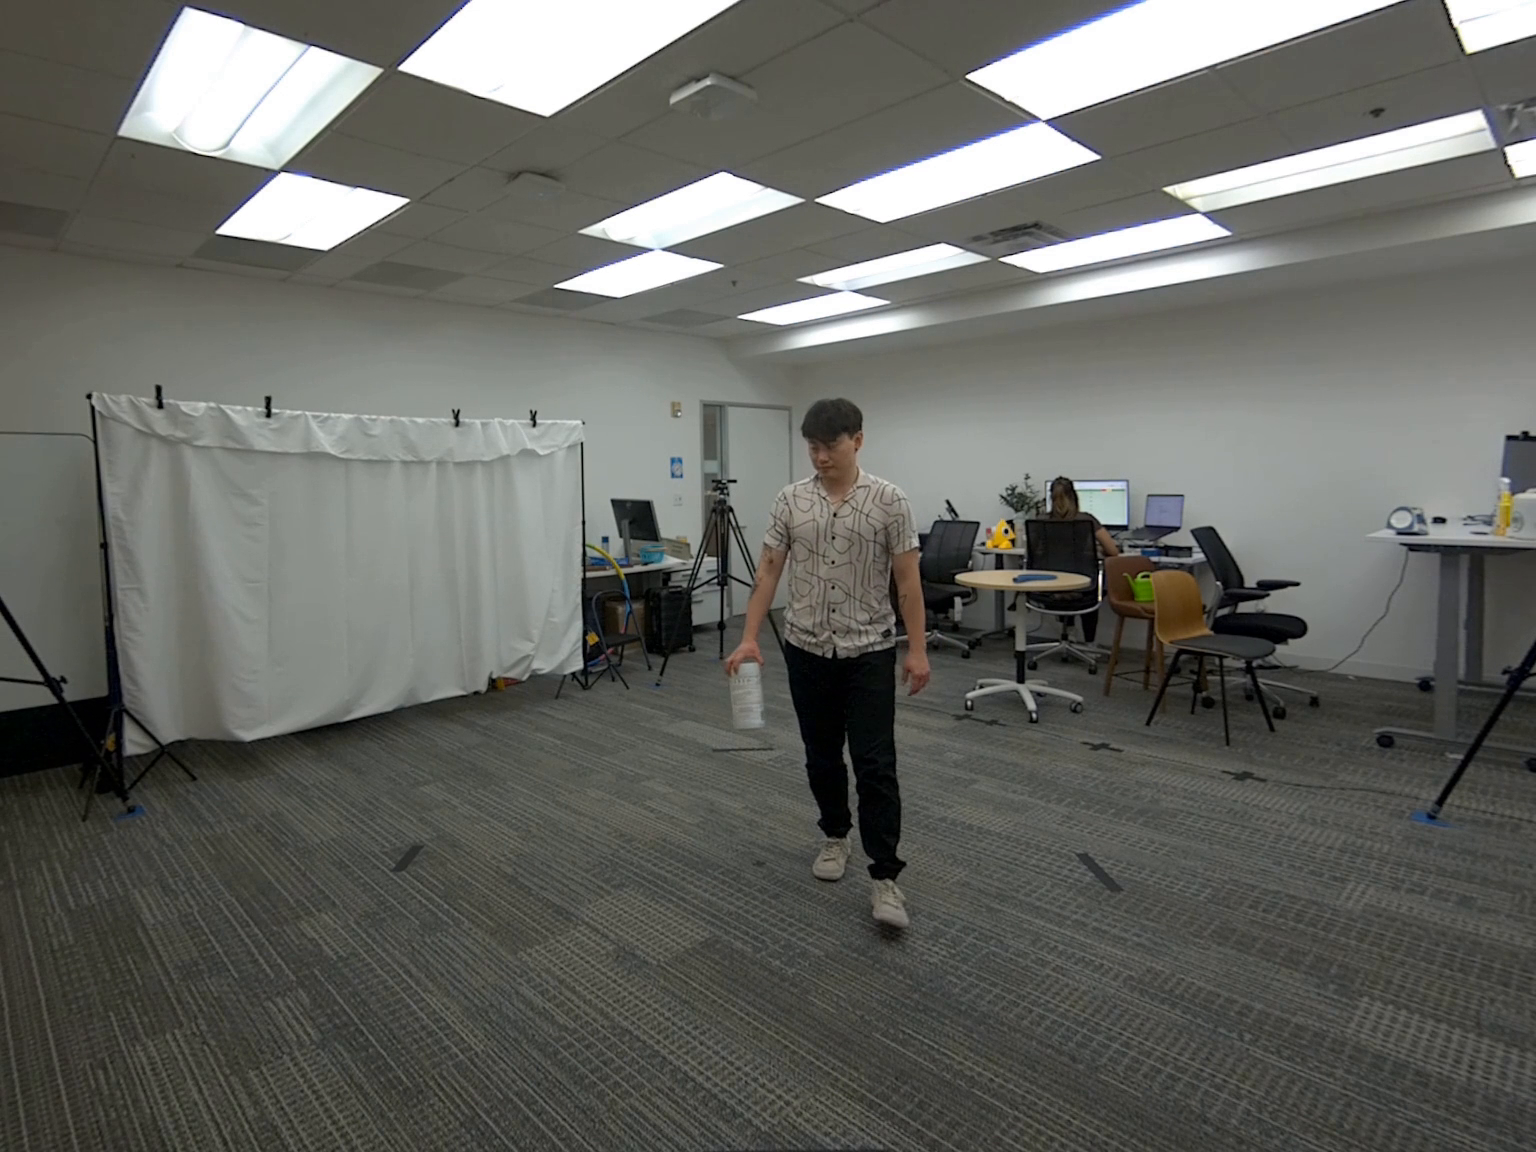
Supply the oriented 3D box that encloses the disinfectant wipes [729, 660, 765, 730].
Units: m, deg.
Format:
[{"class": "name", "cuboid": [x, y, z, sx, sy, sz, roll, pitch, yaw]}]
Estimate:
[{"class": "disinfectant wipes", "cuboid": [-0.062, 0.399, 2.854, 0.117, 0.220, 0.117, -6, -10, -3]}]
